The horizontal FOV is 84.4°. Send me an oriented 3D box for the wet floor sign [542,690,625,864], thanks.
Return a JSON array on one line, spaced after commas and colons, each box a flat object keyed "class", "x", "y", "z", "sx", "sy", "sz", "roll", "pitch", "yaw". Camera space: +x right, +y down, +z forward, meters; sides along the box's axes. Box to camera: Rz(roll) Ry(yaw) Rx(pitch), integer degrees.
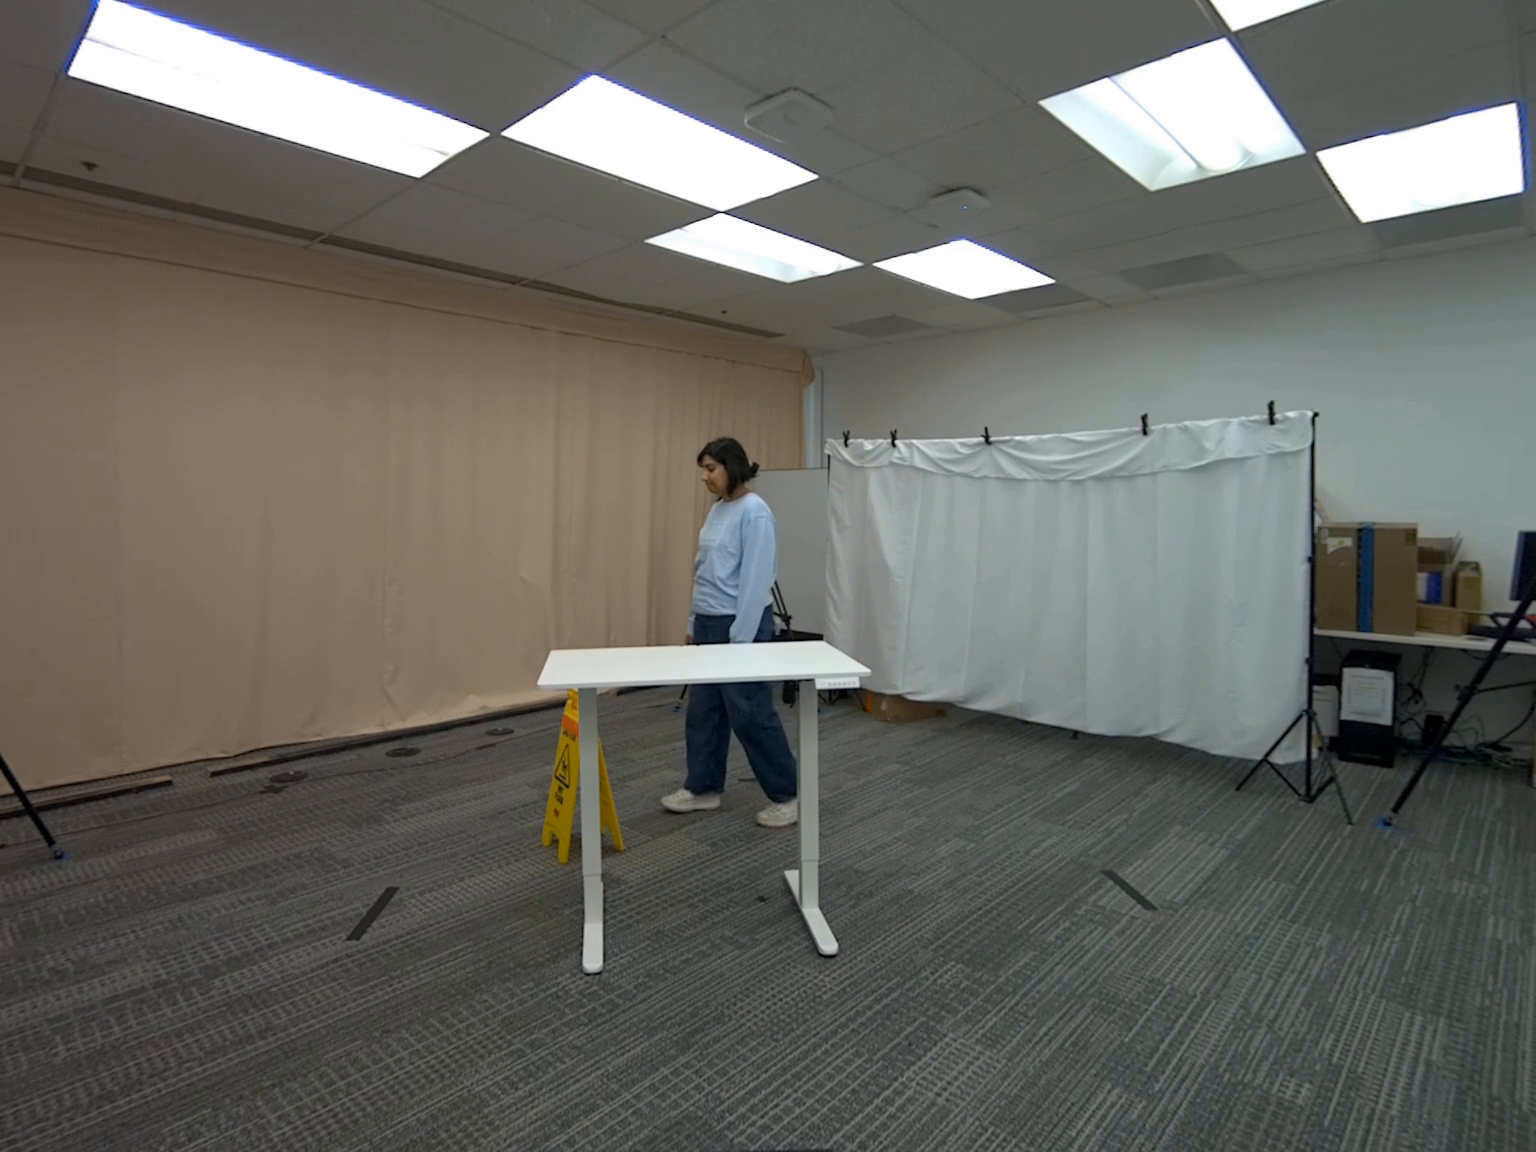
[{"class": "wet floor sign", "x": -0.769, "y": 0.790, "z": 3.446, "sx": 0.282, "sy": 0.645, "sz": 0.290, "roll": -3, "pitch": 3, "yaw": -31}]
